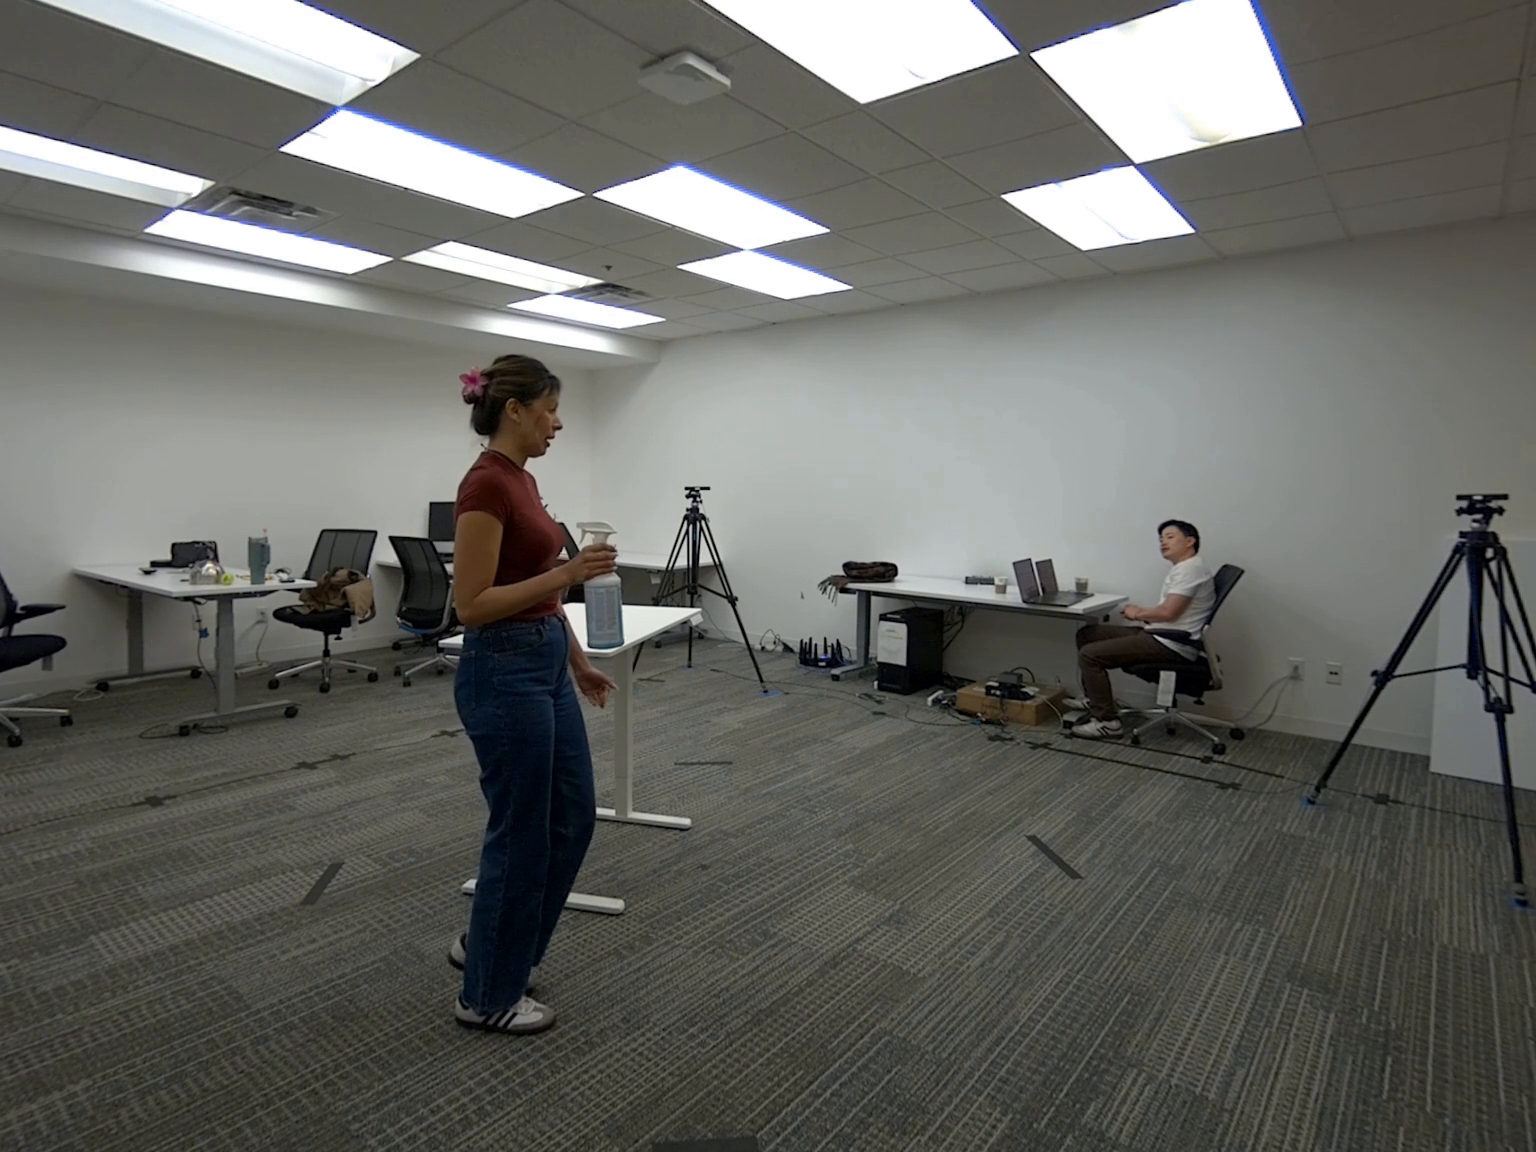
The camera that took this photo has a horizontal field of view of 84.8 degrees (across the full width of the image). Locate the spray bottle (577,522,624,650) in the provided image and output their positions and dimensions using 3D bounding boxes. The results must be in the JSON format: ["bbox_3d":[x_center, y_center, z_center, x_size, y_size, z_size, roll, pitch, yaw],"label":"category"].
[{"bbox_3d":[-0.396,0.021,1.983,0.091,0.298,0.085,-6,-1,17],"label":"spray bottle"}]
